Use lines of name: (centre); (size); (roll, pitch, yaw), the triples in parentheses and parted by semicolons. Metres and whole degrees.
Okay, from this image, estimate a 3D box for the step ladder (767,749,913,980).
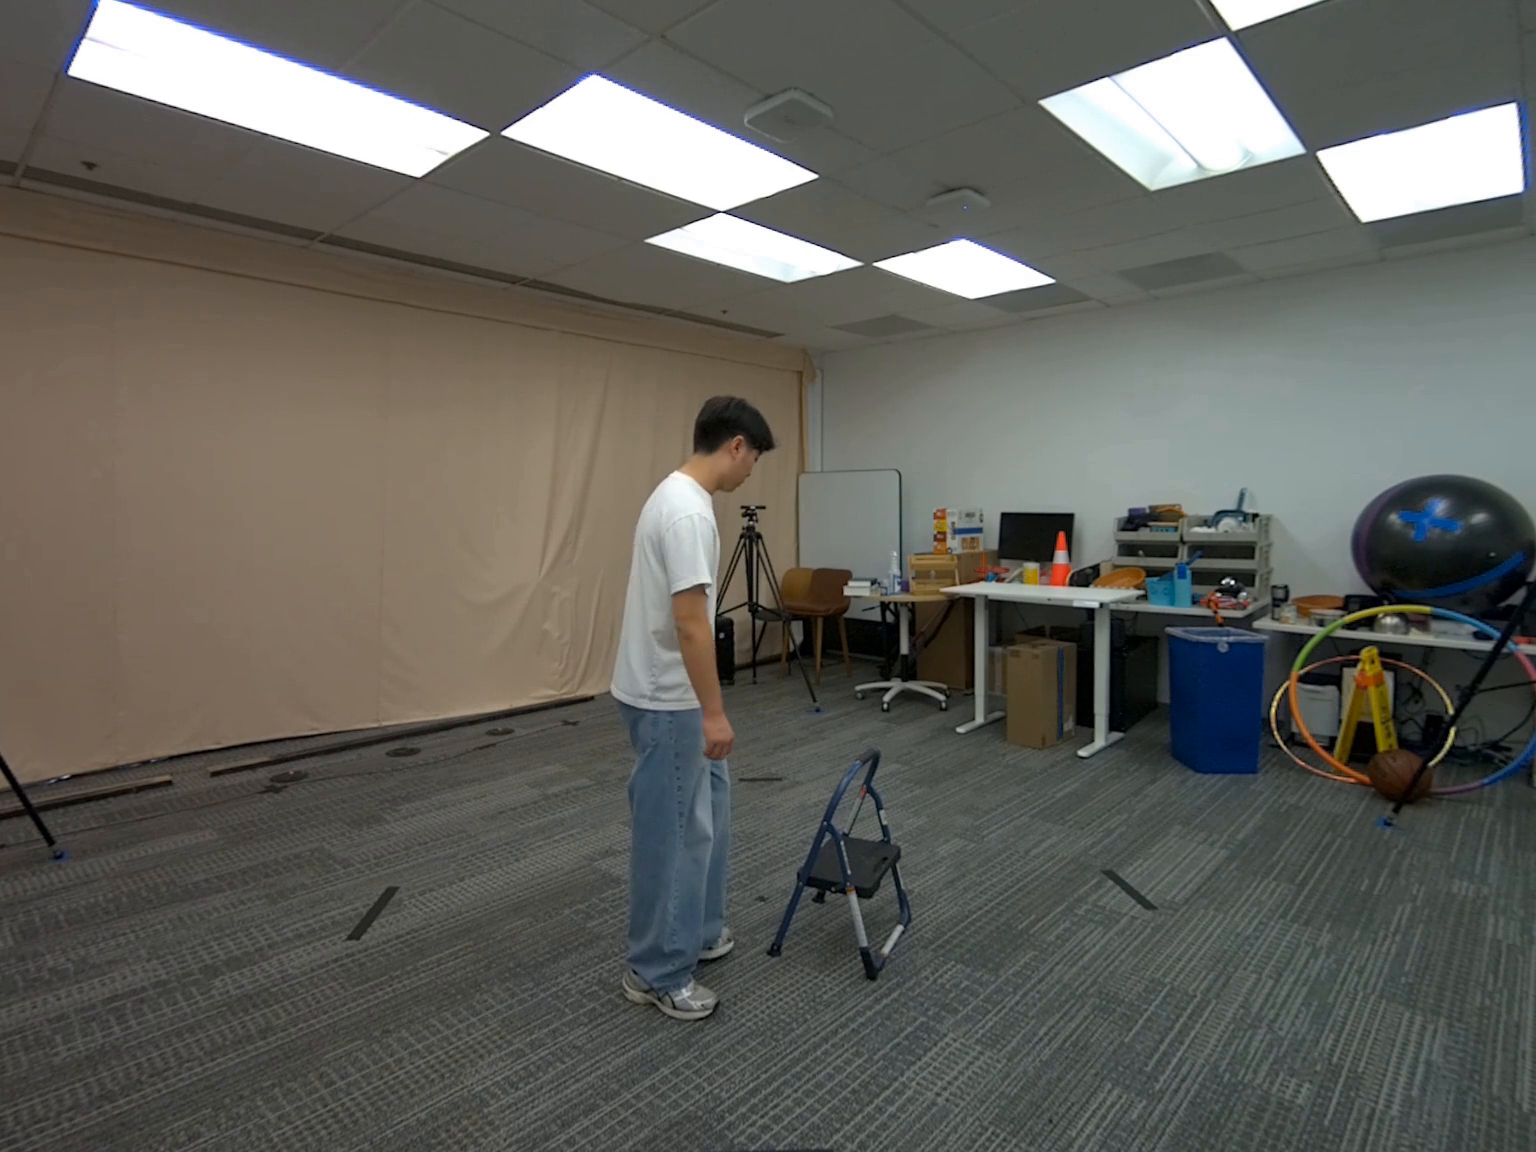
step ladder: (0.241, 0.863, 2.703); (0.358, 0.605, 0.420); (2, 4, 26)
